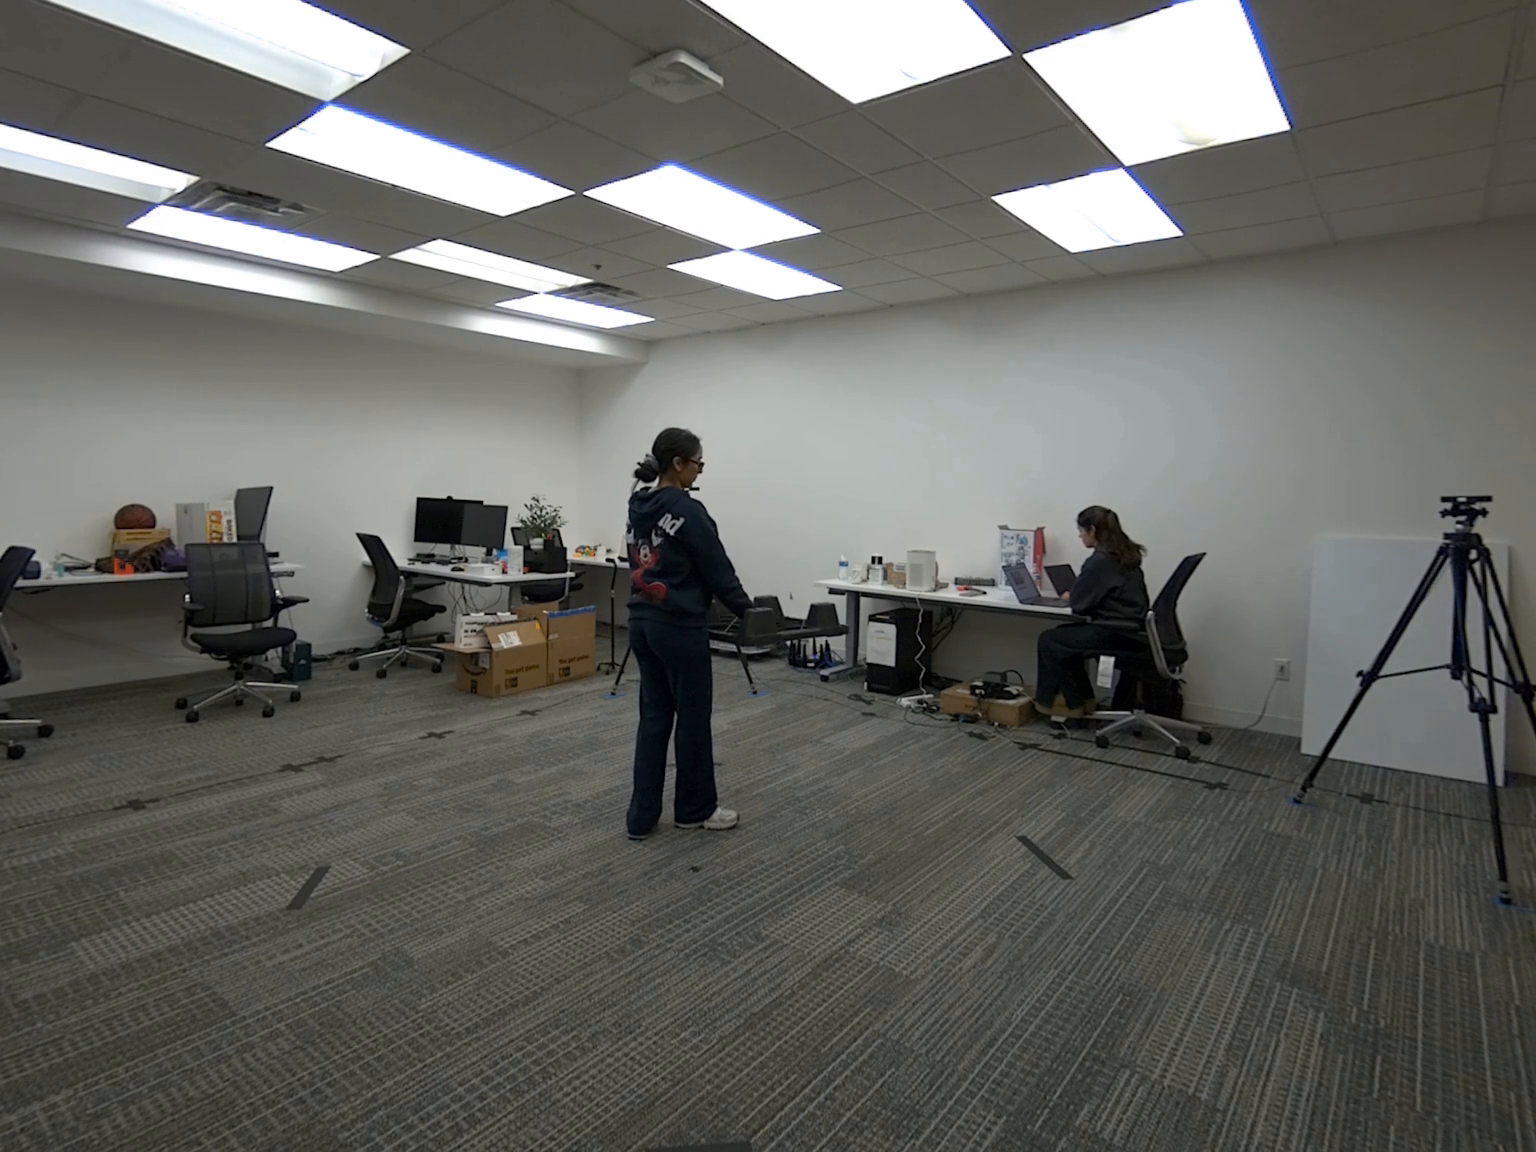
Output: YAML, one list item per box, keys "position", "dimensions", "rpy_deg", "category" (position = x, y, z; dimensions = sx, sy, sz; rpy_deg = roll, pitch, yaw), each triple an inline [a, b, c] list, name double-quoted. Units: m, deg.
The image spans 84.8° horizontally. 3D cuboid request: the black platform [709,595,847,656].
- position: [-0.155, 0.164, 3.697]
  dimensions: [0.586, 0.143, 0.833]
  rpy_deg: [-3, 5, -43]
  category: "black platform"
